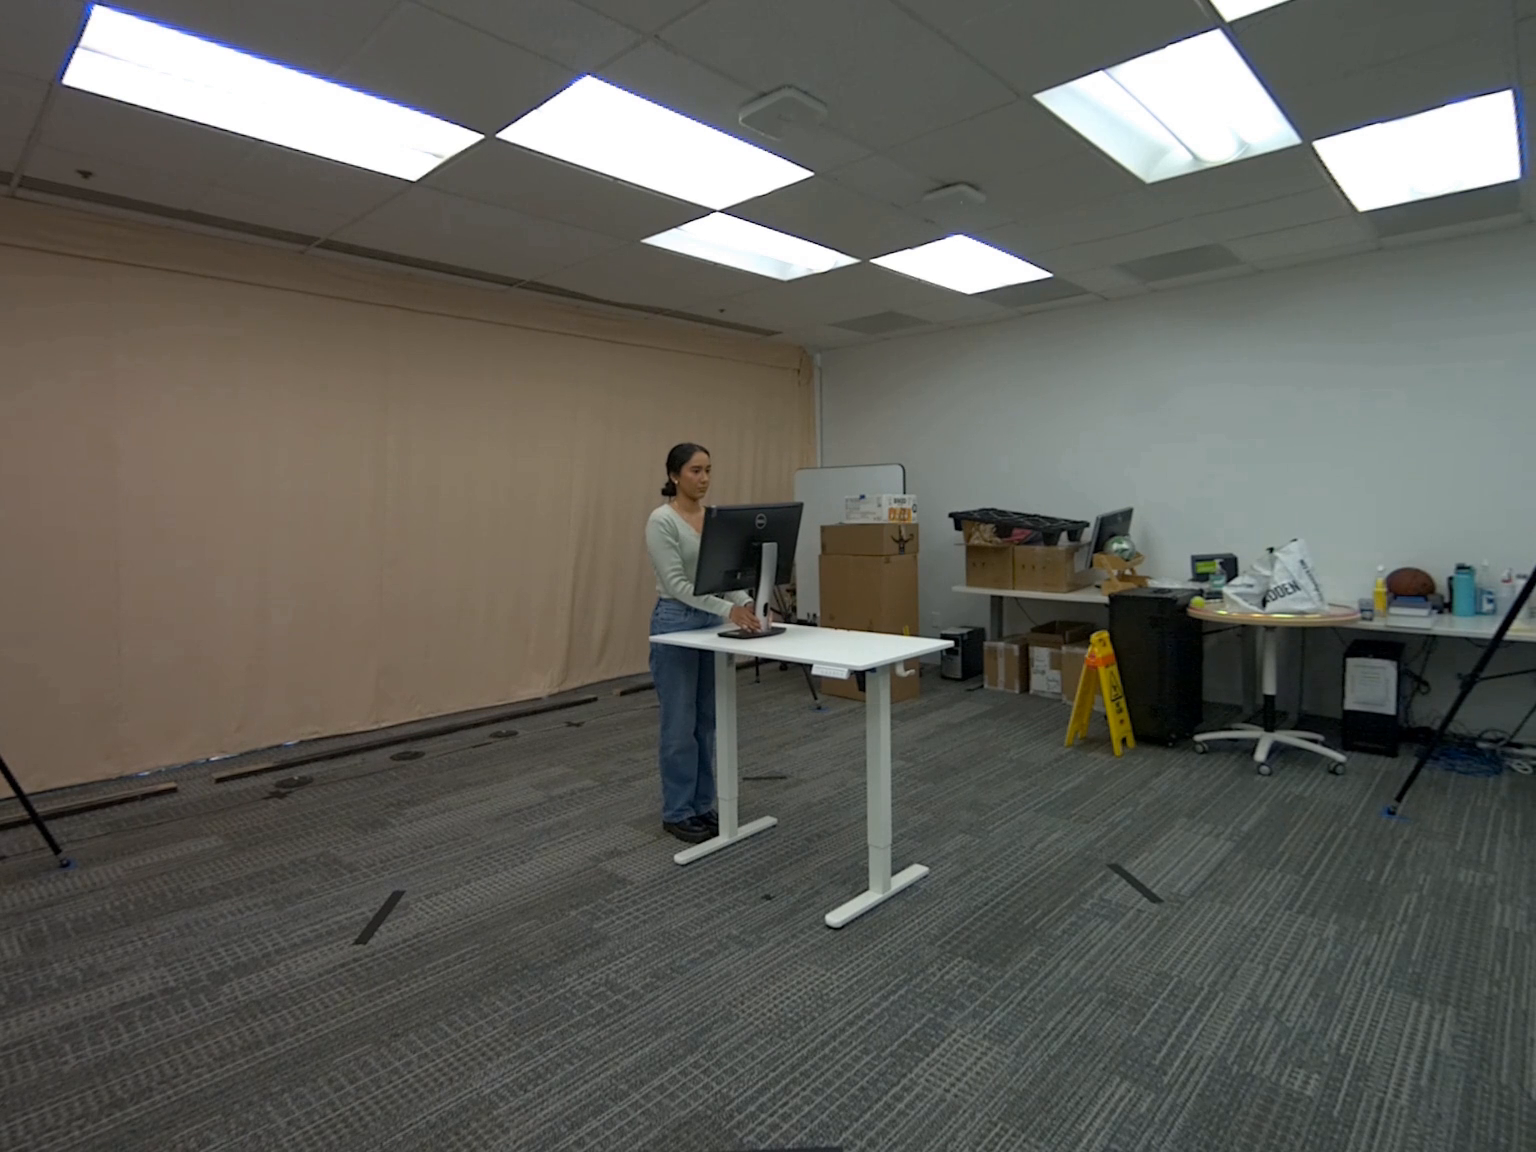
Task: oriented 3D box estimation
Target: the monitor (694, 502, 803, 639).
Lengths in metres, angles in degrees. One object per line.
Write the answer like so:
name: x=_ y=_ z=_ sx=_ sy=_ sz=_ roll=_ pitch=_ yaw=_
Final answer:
monitor: x=-0.052 y=-0.022 z=3.313 sx=0.193 sy=0.521 sz=0.523 roll=6 pitch=8 yaw=44
